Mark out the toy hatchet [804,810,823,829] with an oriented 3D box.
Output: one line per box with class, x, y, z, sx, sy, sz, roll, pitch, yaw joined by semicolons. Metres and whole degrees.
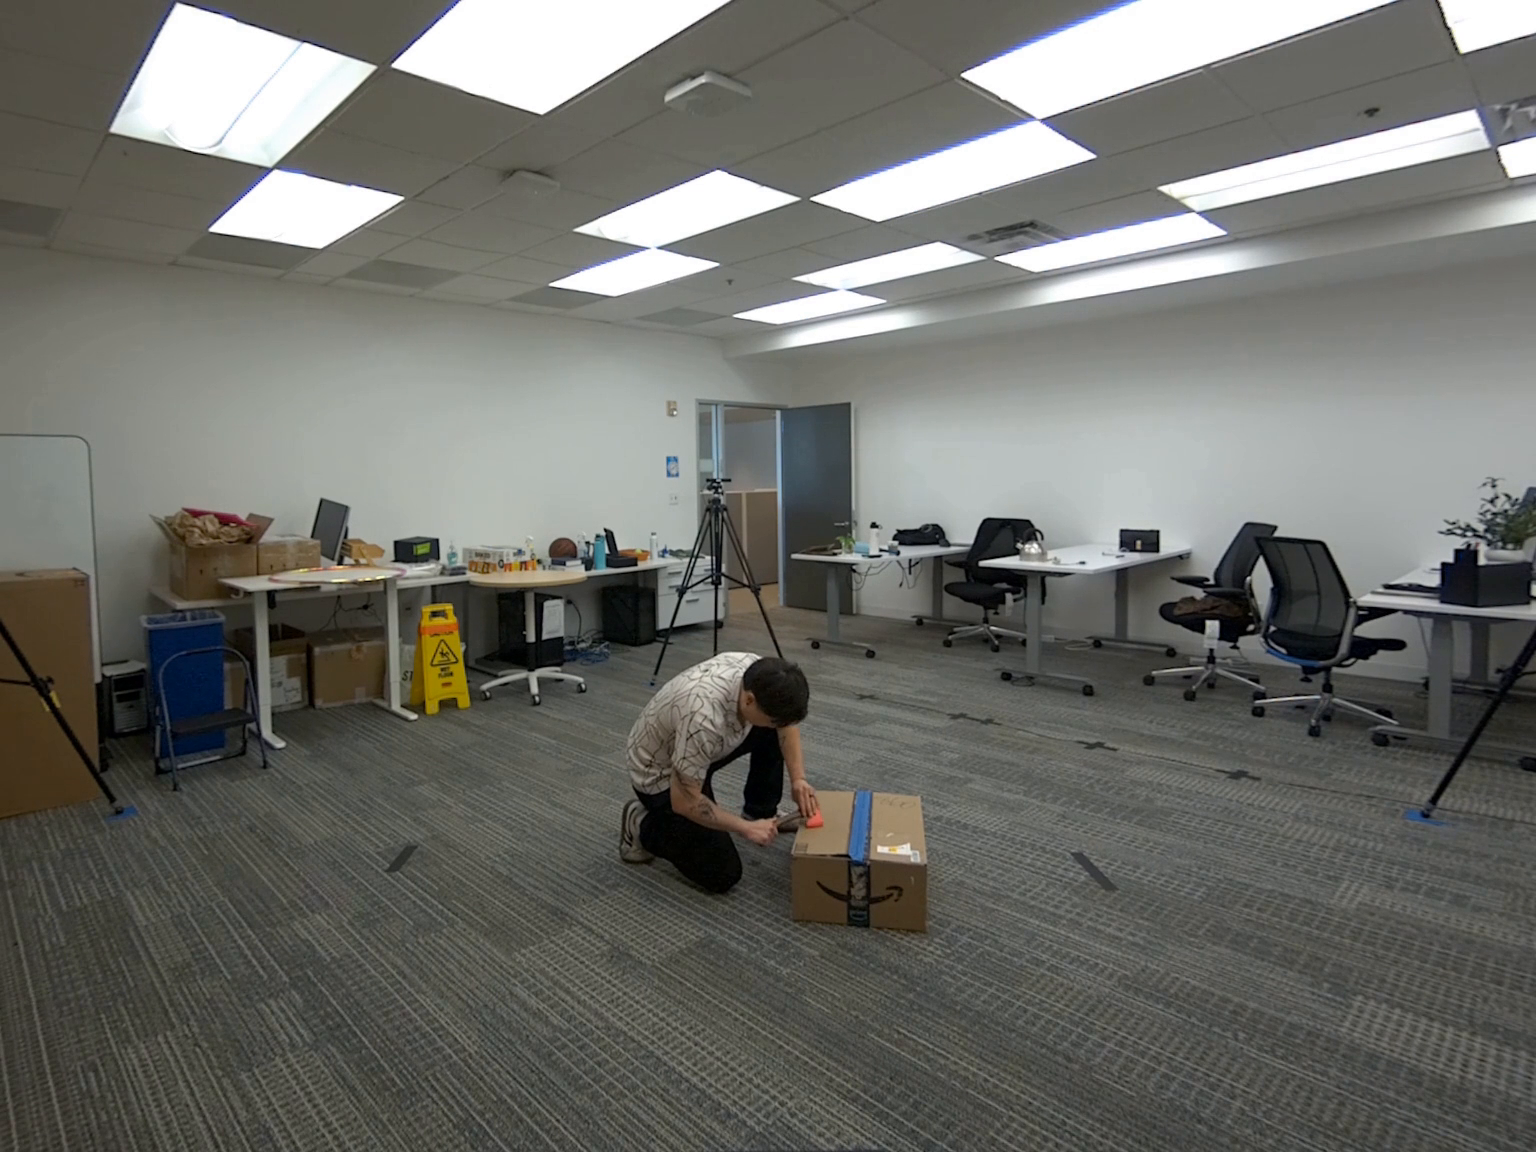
toy hatchet;0.080;0.835;2.886;0.136;0.029;0.264;25;28;35
